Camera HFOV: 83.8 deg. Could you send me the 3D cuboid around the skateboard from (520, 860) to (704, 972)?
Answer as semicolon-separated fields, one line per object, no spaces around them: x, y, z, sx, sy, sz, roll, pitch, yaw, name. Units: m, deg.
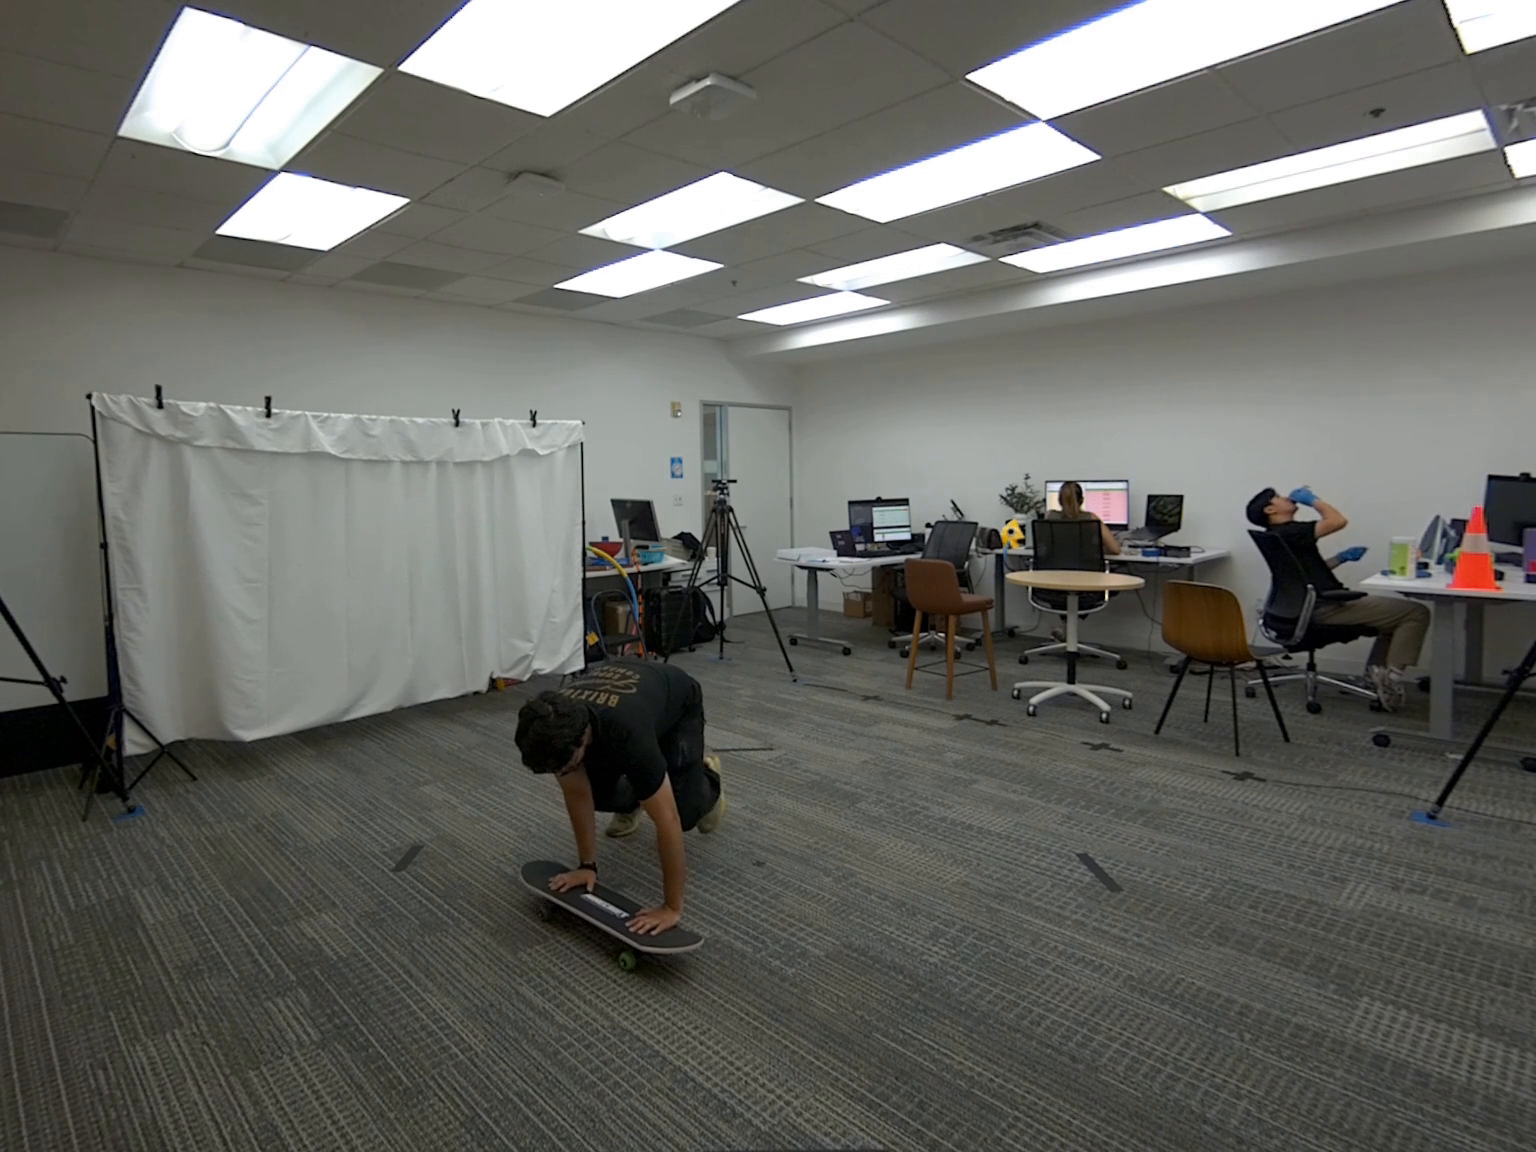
-0.507;1.059;2.648;0.809;0.110;0.187;4;0;42;skateboard
